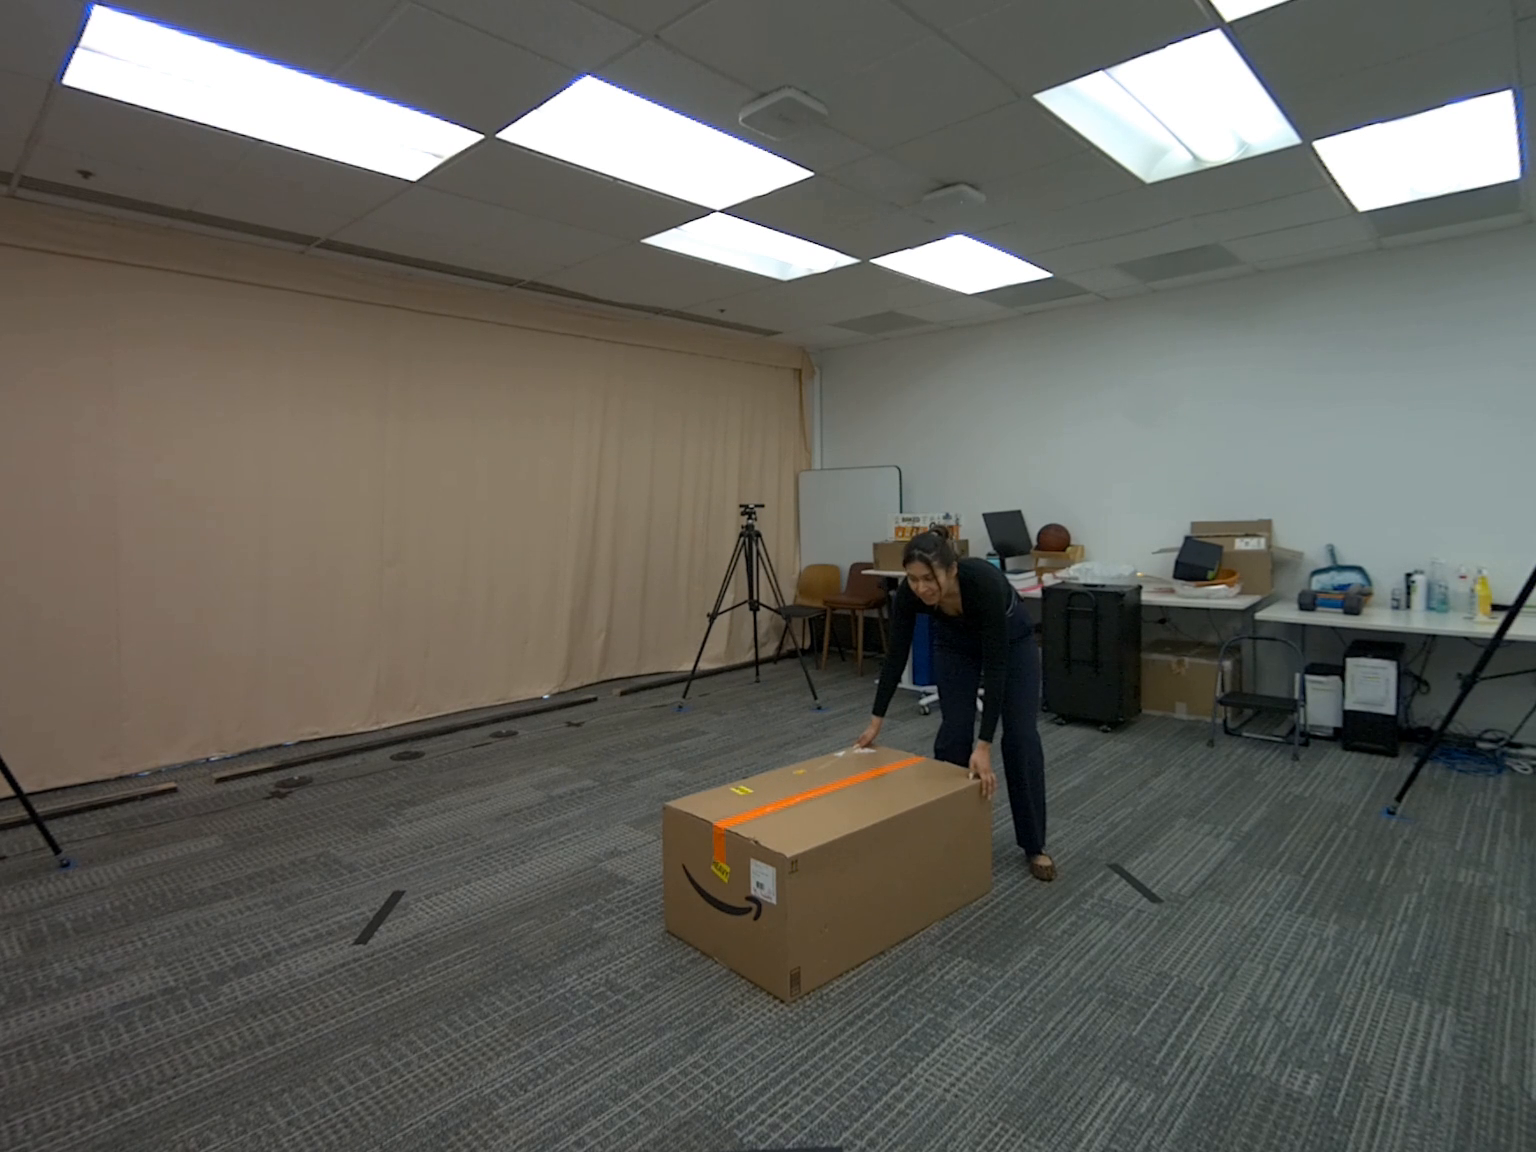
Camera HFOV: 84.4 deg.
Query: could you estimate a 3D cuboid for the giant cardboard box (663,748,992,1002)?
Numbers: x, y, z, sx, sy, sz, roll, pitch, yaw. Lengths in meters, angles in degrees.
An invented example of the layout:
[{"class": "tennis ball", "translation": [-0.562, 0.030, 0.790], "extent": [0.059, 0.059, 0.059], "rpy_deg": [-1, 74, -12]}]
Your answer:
[{"class": "giant cardboard box", "translation": [0.223, 0.934, 2.863], "extent": [0.995, 0.425, 0.596], "rpy_deg": [-5, 5, -42]}]
